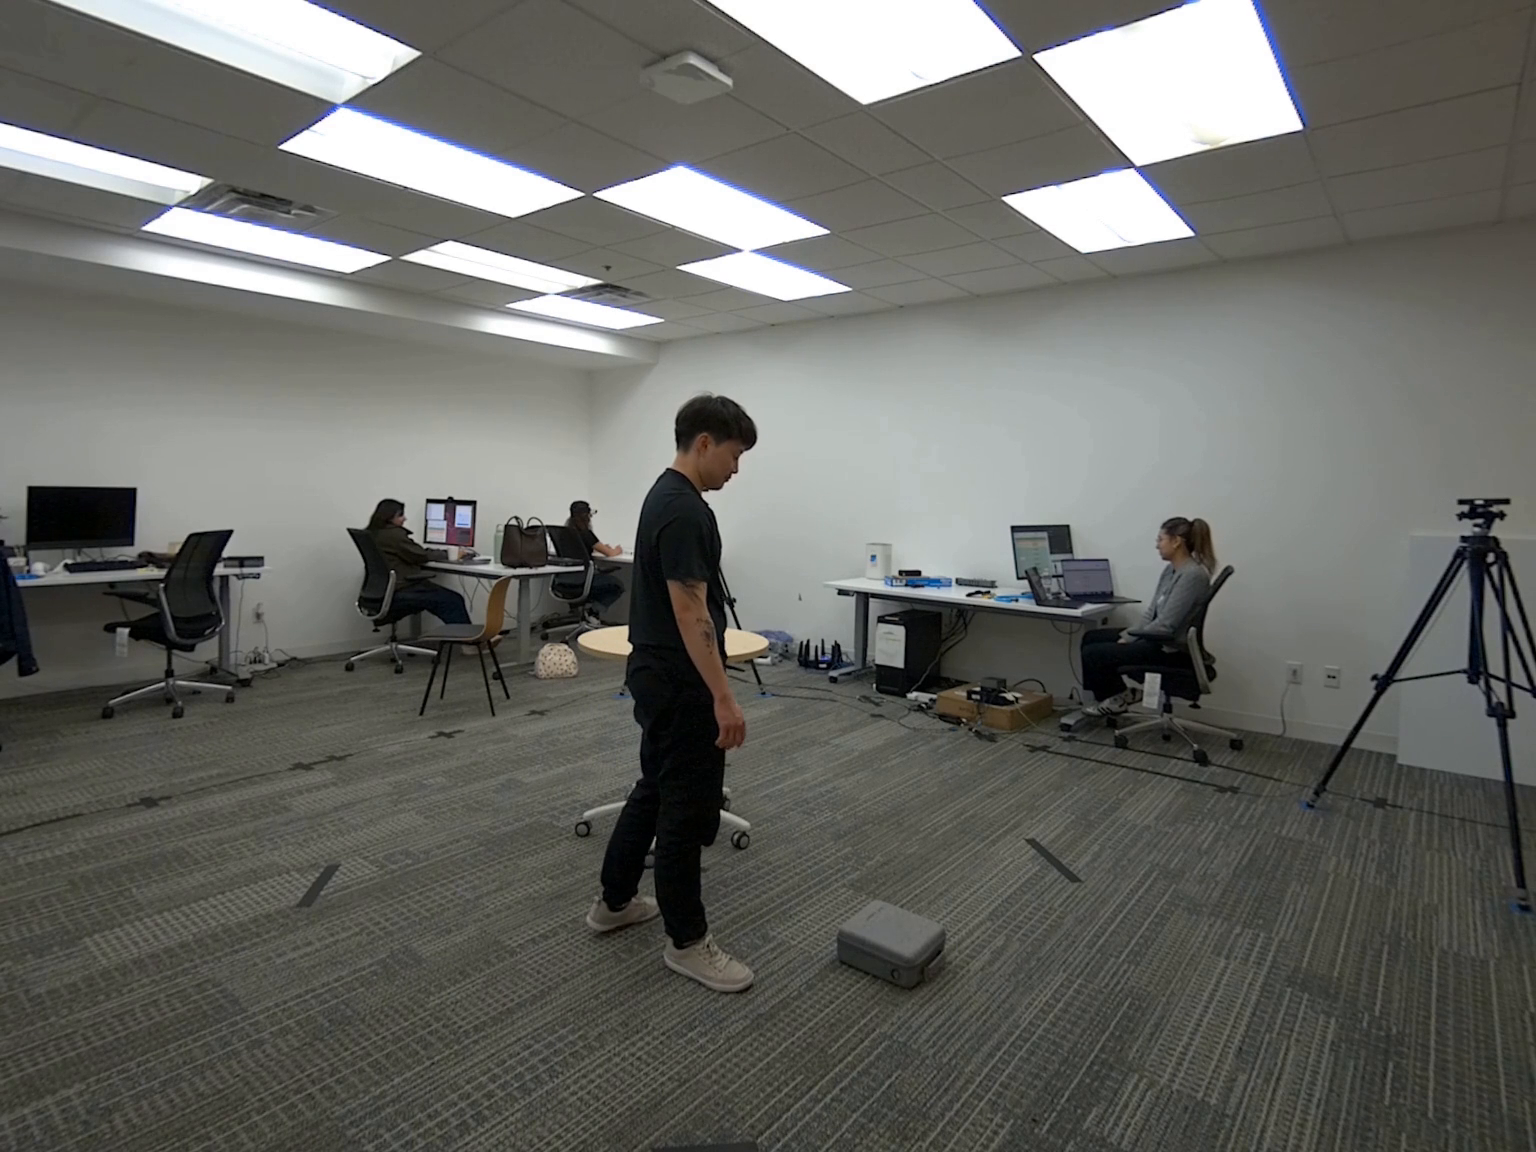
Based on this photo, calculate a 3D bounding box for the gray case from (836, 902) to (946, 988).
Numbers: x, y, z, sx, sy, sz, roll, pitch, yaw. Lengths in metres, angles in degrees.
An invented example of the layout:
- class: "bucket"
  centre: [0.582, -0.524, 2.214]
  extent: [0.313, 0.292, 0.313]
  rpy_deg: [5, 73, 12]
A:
- class: "gray case"
  centre: [0.369, 1.088, 2.531]
  extent: [0.269, 0.104, 0.249]
  rpy_deg: [7, 6, 37]
